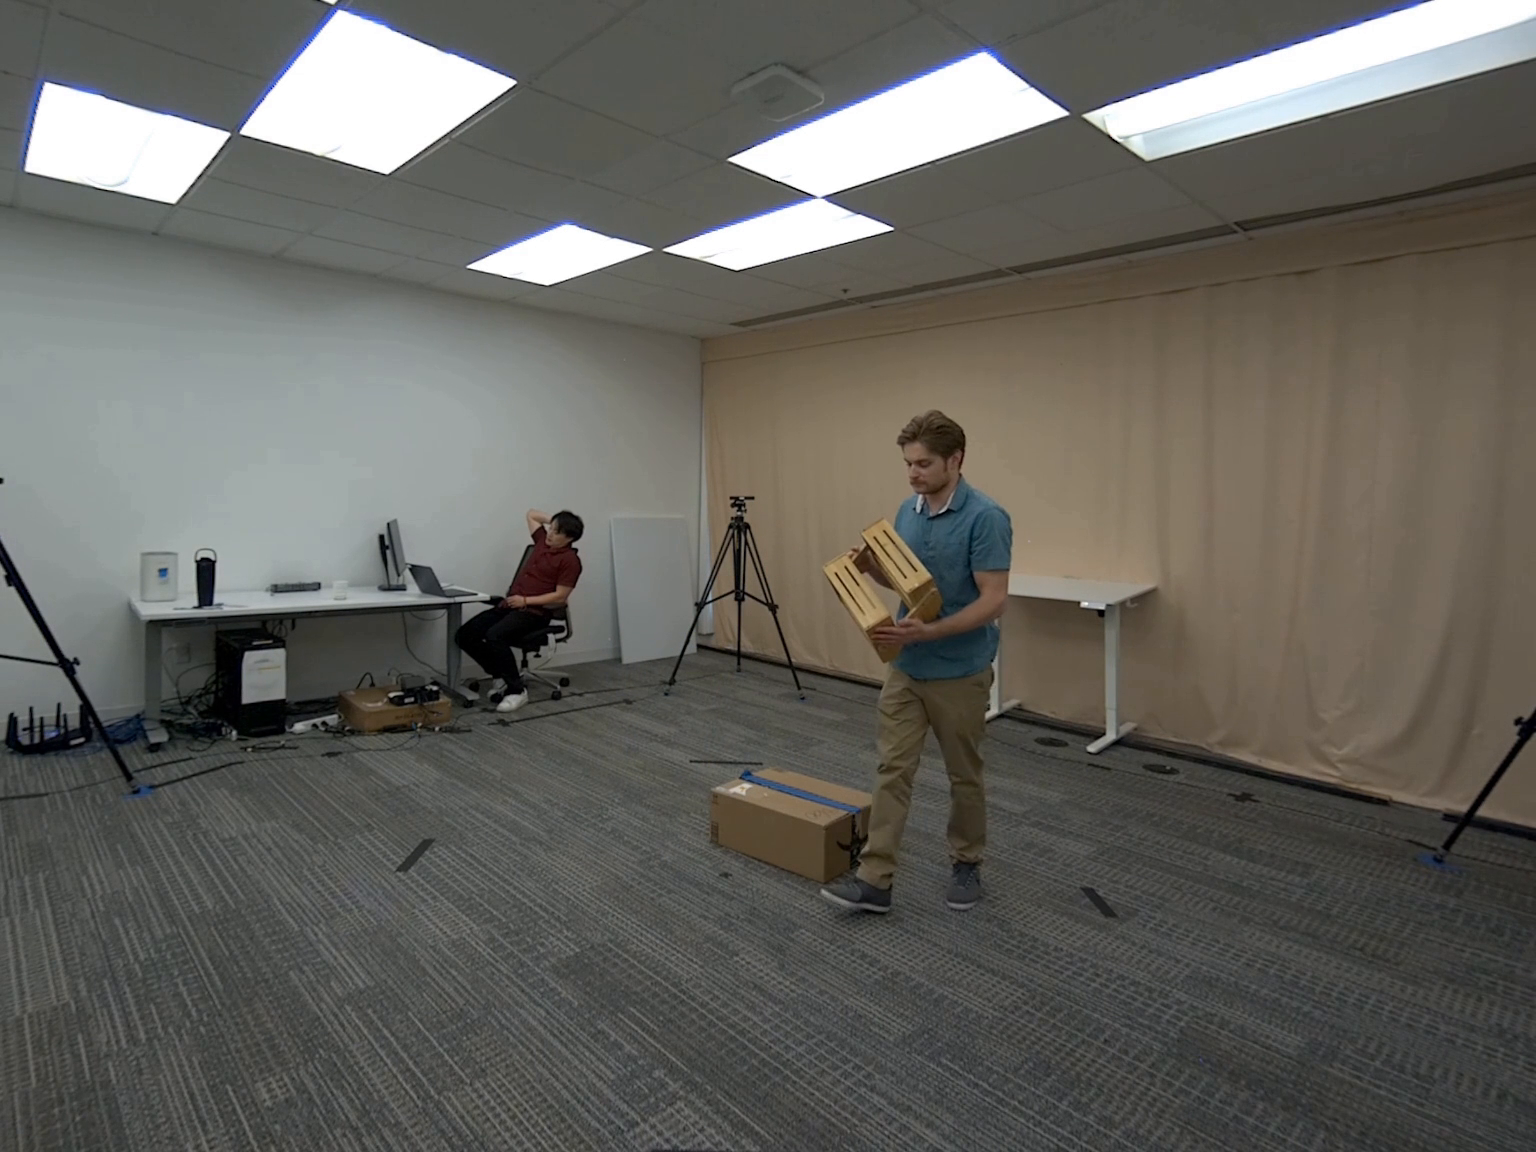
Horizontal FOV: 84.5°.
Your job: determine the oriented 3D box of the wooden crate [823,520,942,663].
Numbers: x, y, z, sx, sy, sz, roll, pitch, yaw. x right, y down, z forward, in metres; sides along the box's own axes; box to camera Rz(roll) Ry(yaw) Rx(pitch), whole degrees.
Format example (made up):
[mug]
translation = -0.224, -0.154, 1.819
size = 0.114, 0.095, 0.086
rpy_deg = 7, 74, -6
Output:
[wooden crate]
translation = 0.384, 0.053, 2.764
size = 0.273, 0.334, 0.292
rpy_deg = -33, -40, 2
